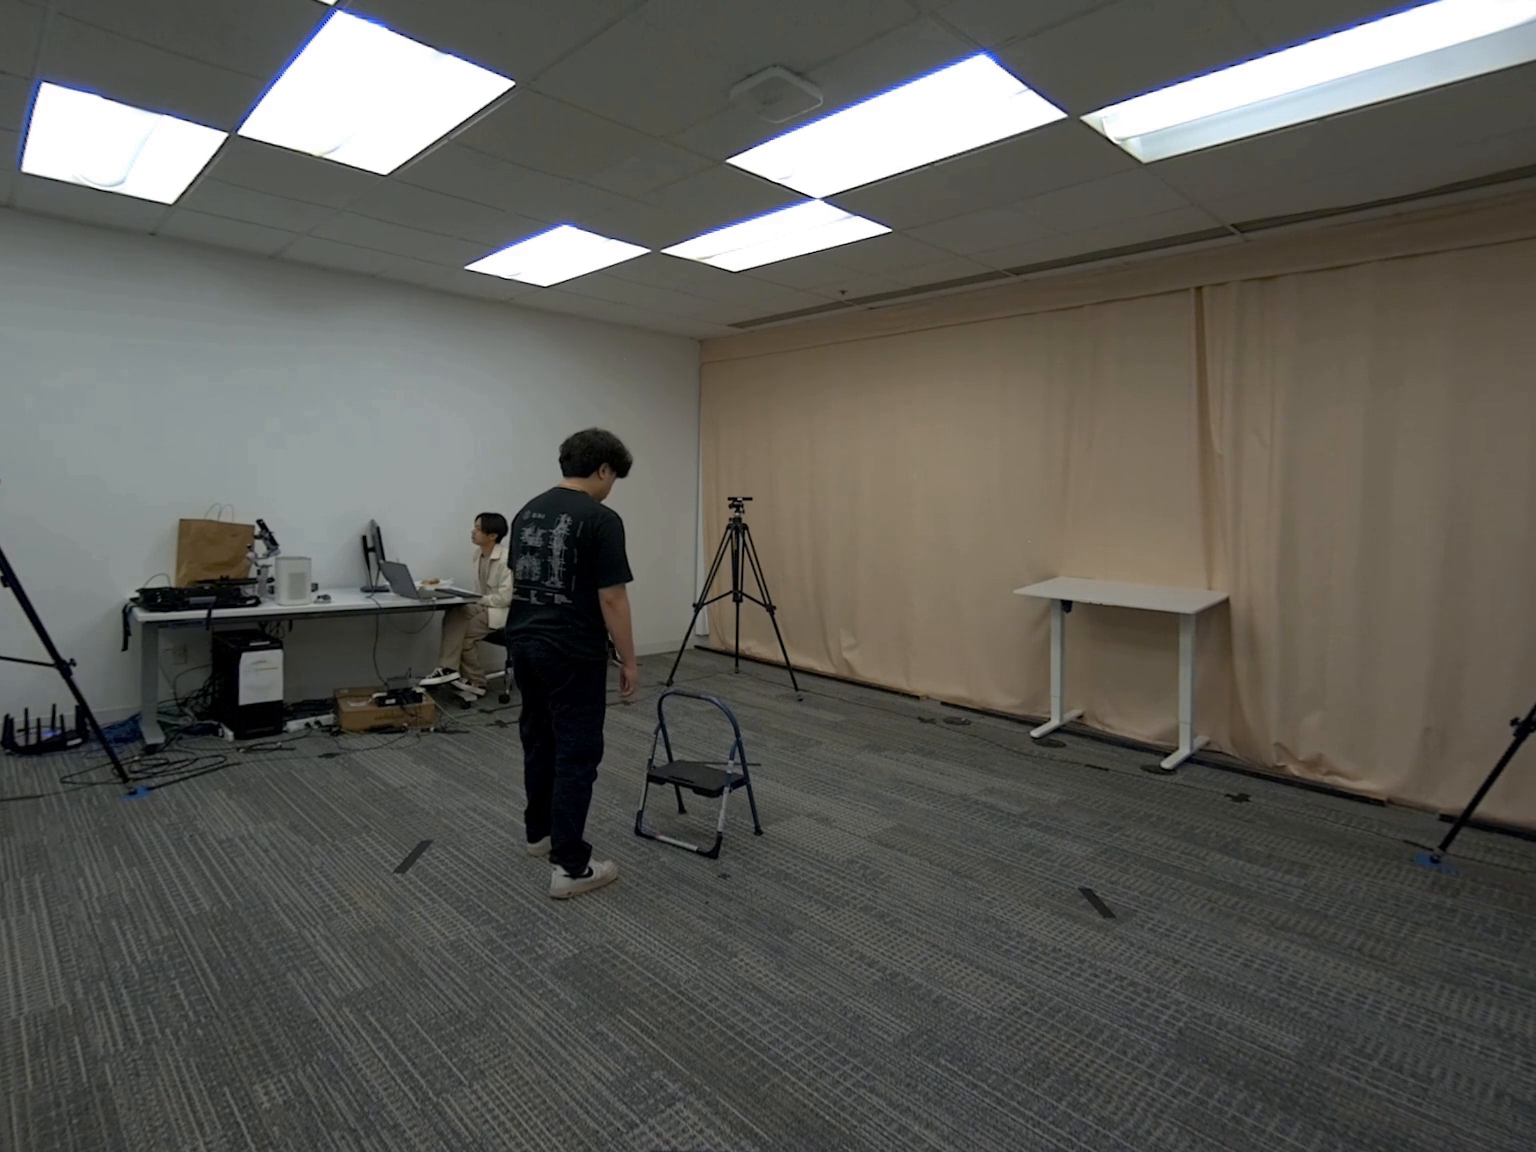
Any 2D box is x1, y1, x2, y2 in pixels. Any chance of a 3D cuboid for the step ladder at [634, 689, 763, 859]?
[{"bbox_3d":[-0.287,0.768,3.479,0.440,0.605,0.342,3,3,32],"label":"step ladder"}]
